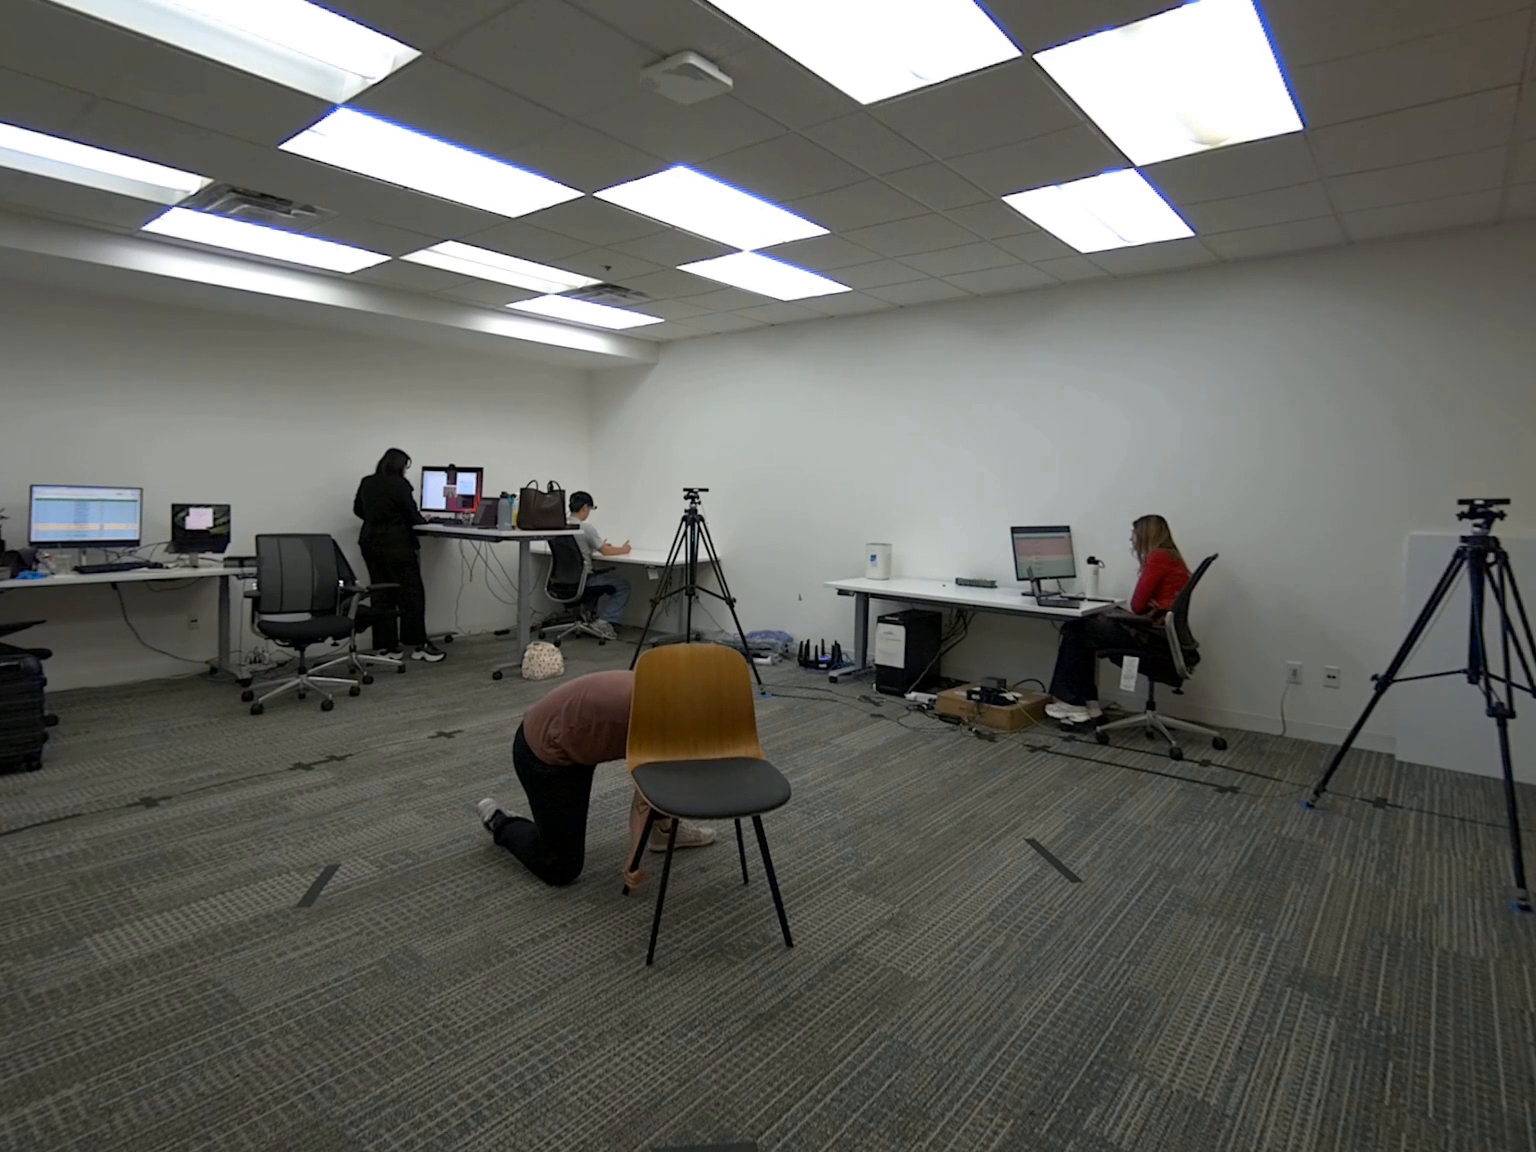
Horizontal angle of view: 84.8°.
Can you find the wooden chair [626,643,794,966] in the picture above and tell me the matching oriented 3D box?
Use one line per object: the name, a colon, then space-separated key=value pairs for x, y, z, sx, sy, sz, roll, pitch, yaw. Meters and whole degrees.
wooden chair: x=-0.196 y=0.681 z=2.705 sx=0.470 sy=0.878 sz=0.532 roll=2 pitch=-1 yaw=-17
